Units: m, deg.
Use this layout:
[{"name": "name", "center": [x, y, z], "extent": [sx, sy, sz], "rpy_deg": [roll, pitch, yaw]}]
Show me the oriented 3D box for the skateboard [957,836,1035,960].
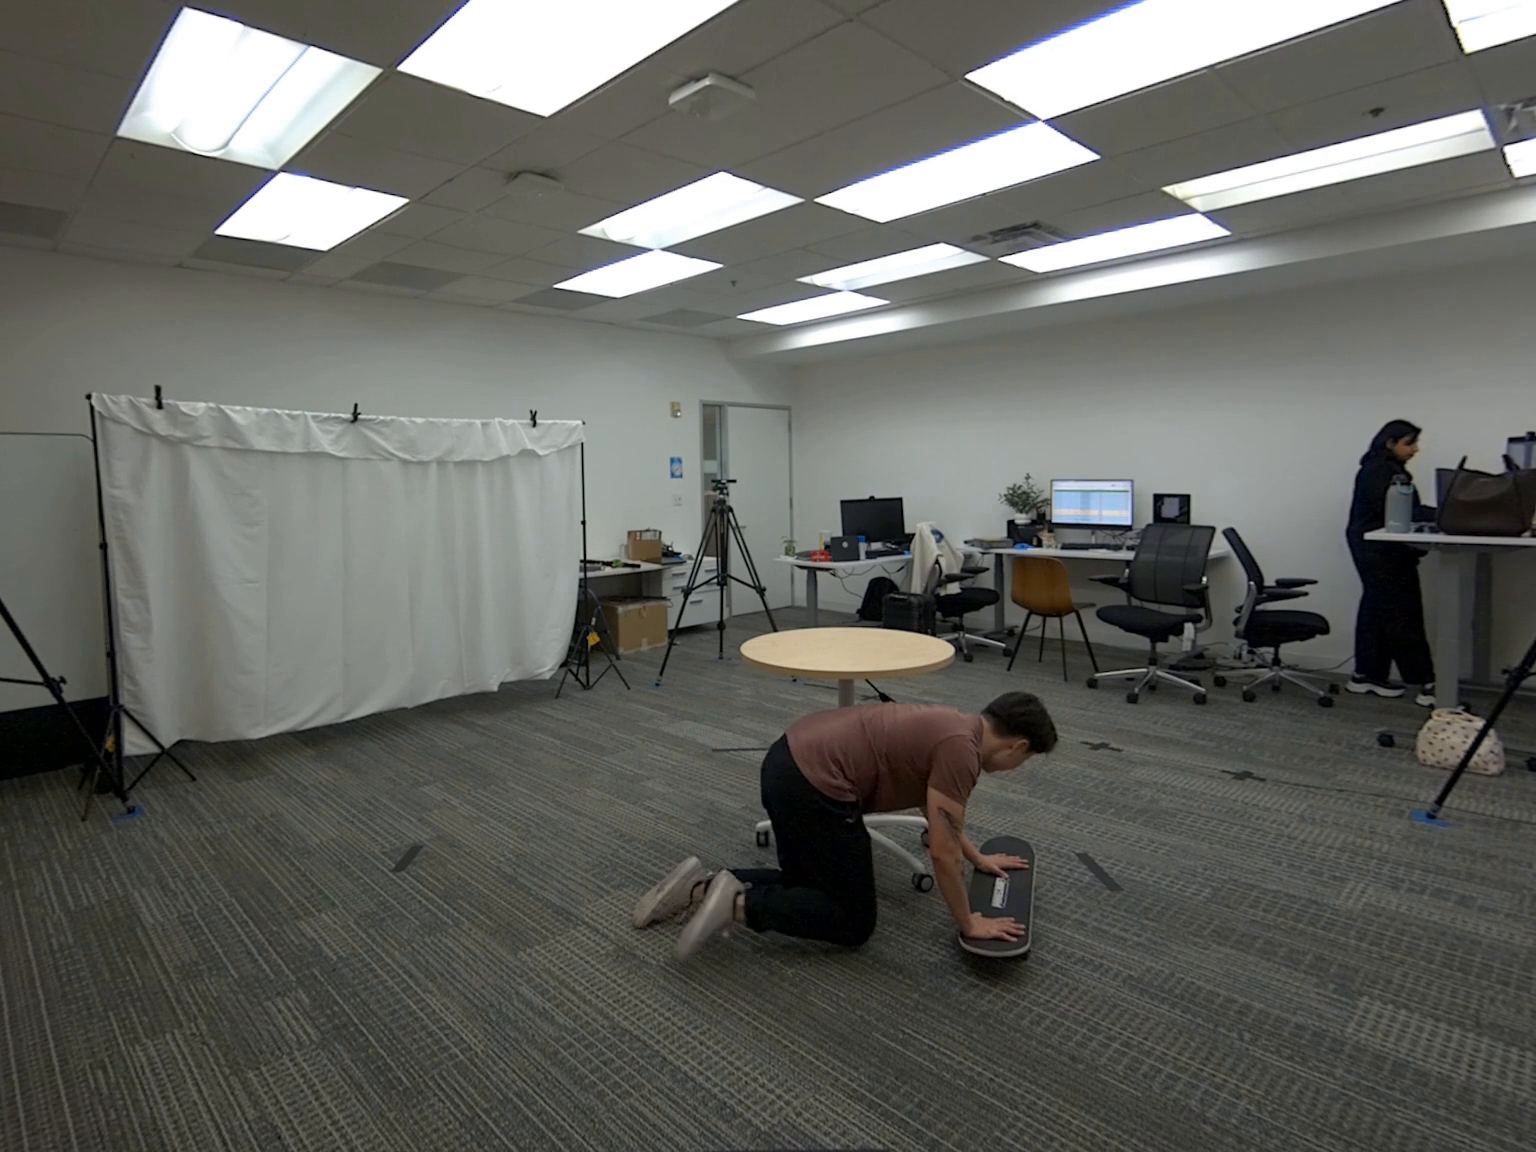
[{"name": "skateboard", "center": [0.723, 1.016, 2.689], "extent": [0.197, 0.110, 0.773], "rpy_deg": [-2, 5, 20]}]
